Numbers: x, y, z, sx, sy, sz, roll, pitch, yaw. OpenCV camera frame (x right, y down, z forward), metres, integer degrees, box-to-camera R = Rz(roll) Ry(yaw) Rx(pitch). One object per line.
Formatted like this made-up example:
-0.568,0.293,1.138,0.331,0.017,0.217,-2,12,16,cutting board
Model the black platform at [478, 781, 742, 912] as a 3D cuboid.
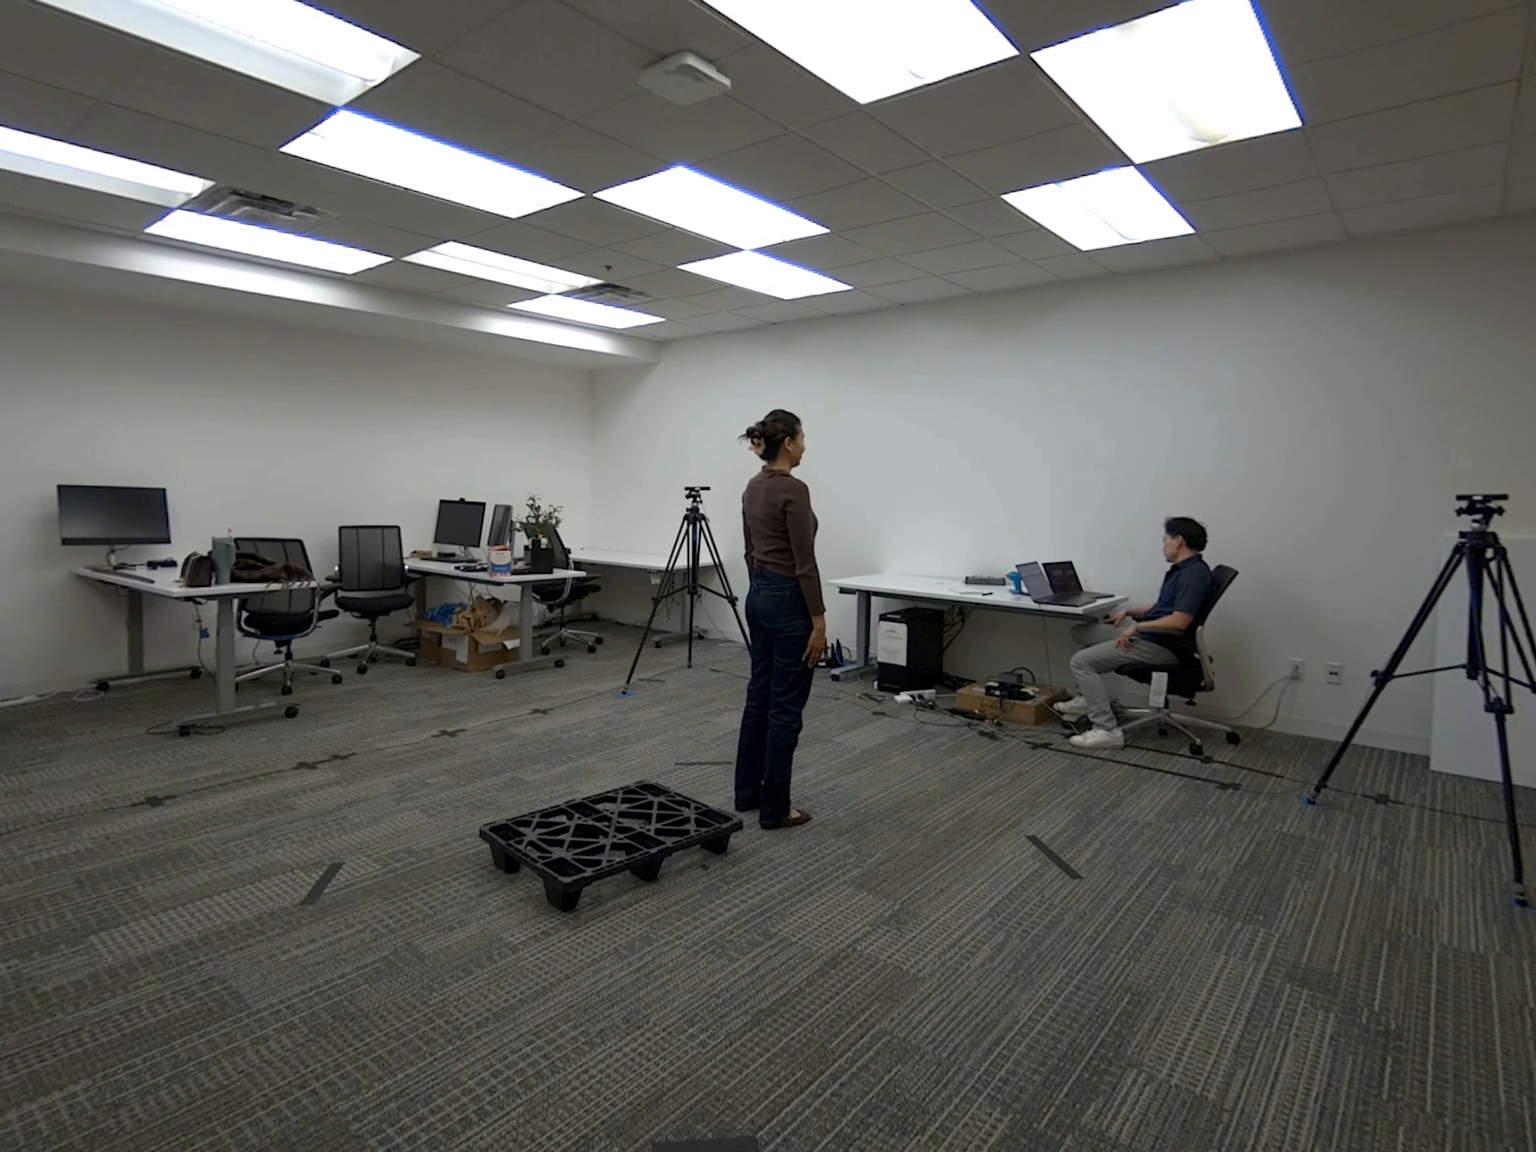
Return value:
-0.583,0.988,3.177,0.781,0.143,0.626,-5,9,-44,black platform
